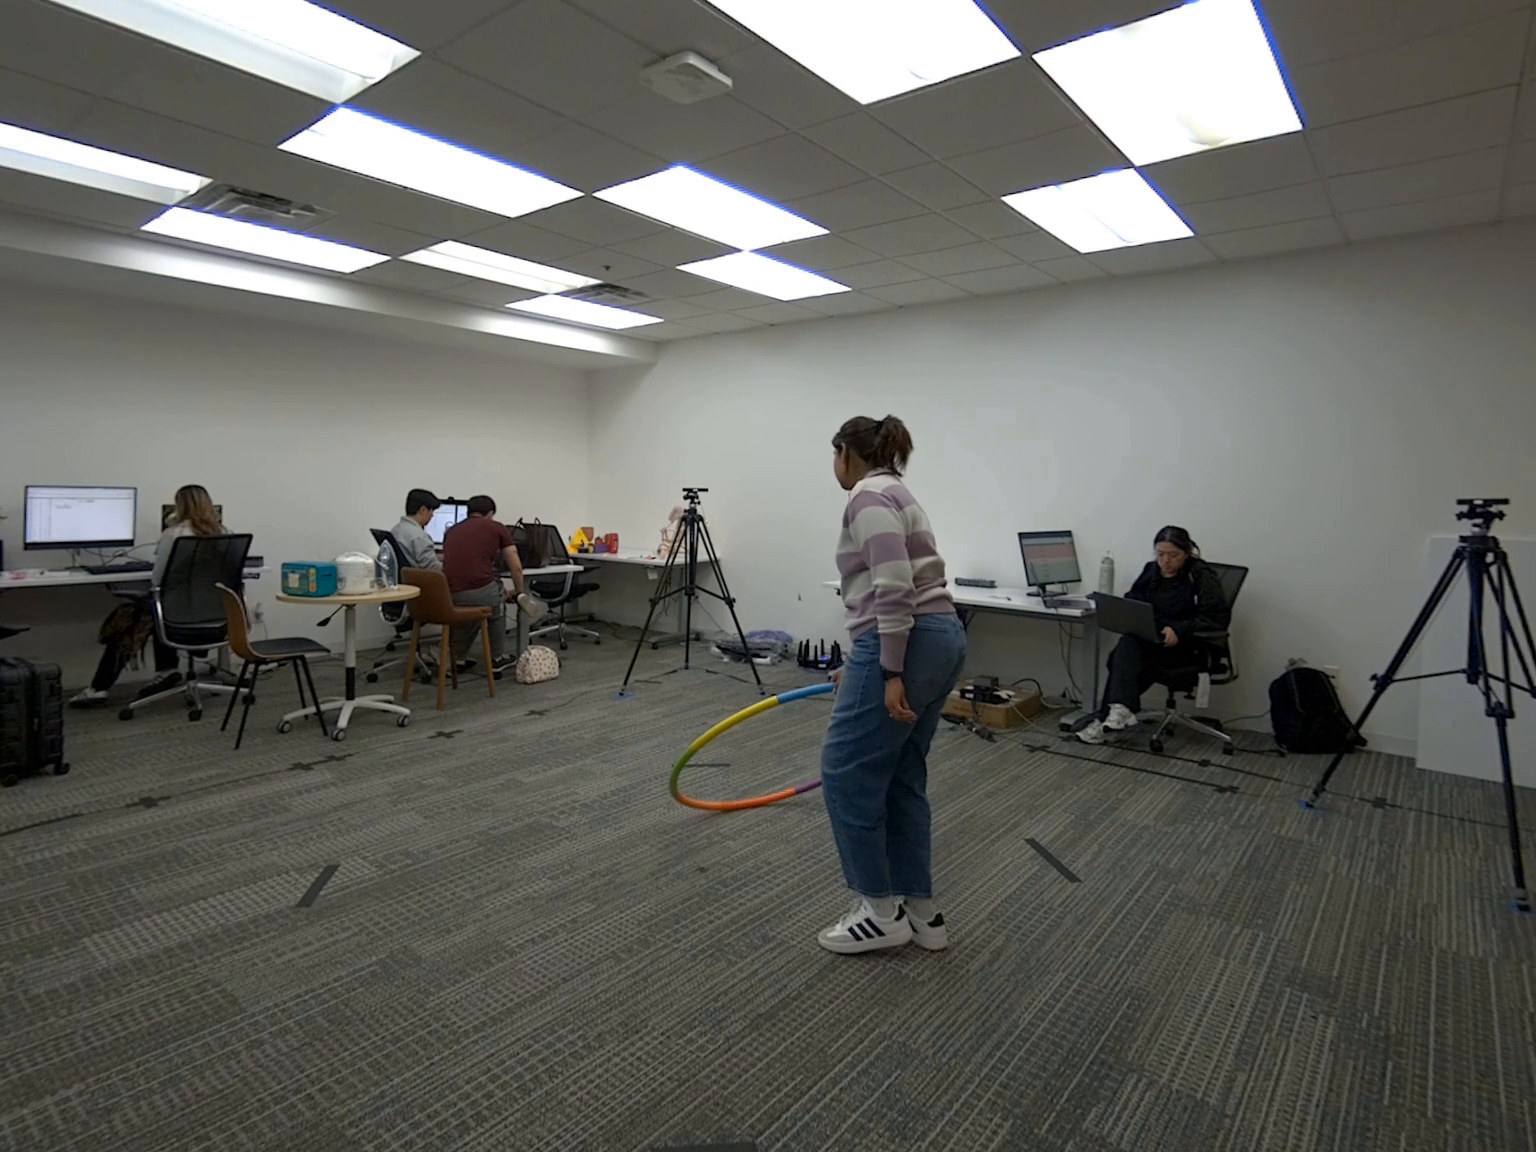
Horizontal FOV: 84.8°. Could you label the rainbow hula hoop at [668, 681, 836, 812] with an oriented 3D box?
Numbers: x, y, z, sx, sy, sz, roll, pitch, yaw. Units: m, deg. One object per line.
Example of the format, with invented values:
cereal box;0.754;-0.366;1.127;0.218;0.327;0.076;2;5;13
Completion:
rainbow hula hoop;0.047;0.699;3.403;0.976;0.053;0.959;-13;-34;-11
